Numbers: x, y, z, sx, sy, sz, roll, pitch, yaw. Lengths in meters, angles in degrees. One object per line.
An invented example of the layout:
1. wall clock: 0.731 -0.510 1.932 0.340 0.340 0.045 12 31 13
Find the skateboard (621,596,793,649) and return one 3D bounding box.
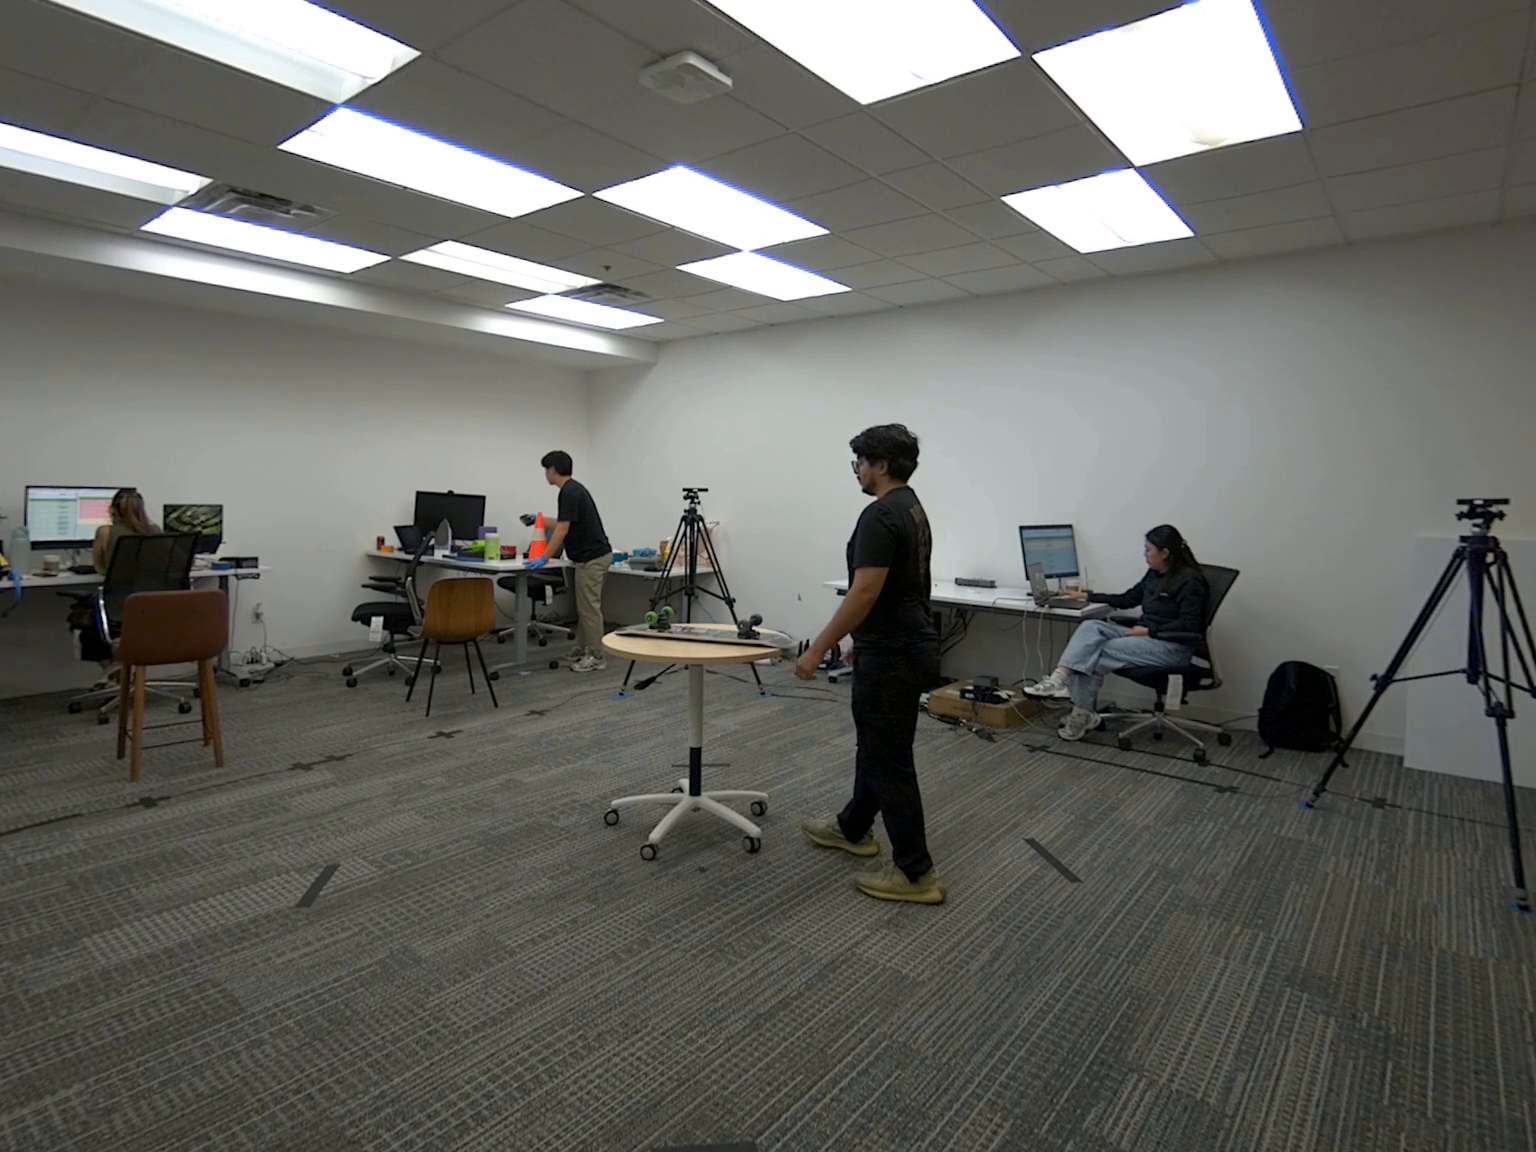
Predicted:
1. skateboard: -0.272 0.207 3.462 0.804 0.110 0.190 4 7 22
